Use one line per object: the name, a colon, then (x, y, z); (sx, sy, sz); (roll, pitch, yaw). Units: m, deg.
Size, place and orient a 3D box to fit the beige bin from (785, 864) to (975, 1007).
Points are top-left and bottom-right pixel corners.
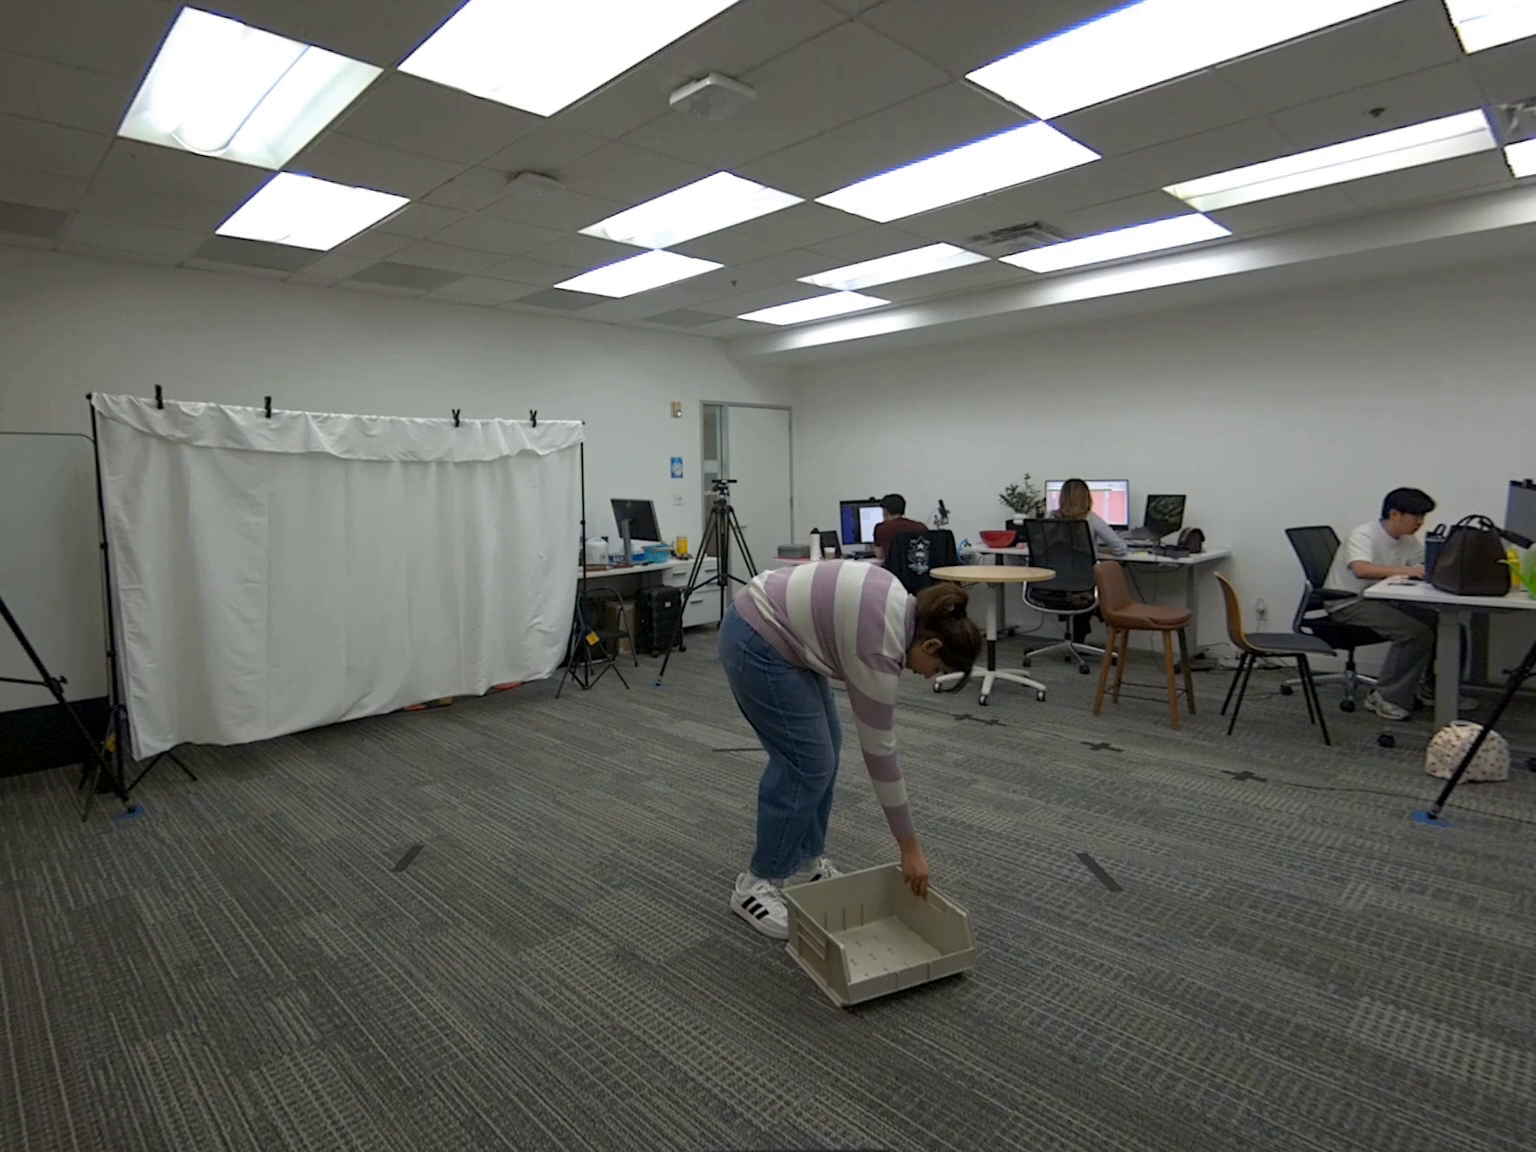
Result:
beige bin: (0.315, 1.024, 2.448); (0.414, 0.188, 0.386); (-4, 6, -24)
